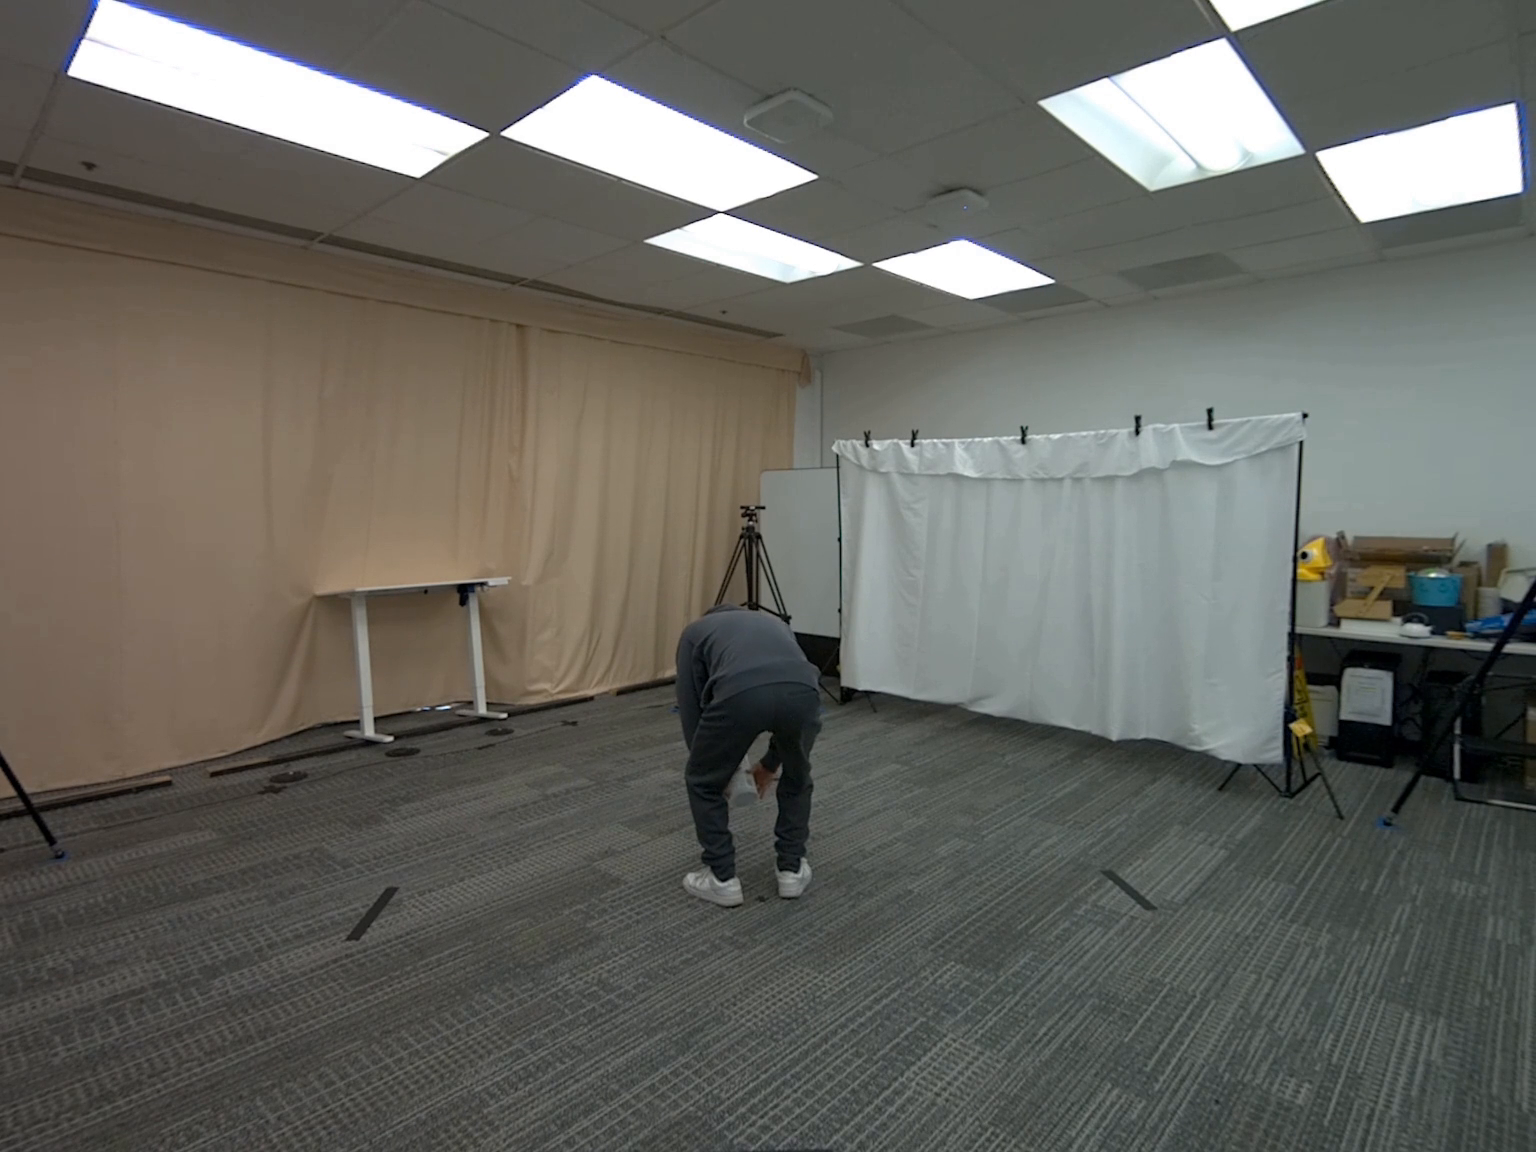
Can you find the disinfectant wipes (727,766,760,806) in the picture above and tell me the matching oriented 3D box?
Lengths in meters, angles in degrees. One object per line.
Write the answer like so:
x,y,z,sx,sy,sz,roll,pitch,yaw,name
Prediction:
-0.114,0.776,3.284,0.116,0.116,0.223,-1,39,-10,disinfectant wipes
